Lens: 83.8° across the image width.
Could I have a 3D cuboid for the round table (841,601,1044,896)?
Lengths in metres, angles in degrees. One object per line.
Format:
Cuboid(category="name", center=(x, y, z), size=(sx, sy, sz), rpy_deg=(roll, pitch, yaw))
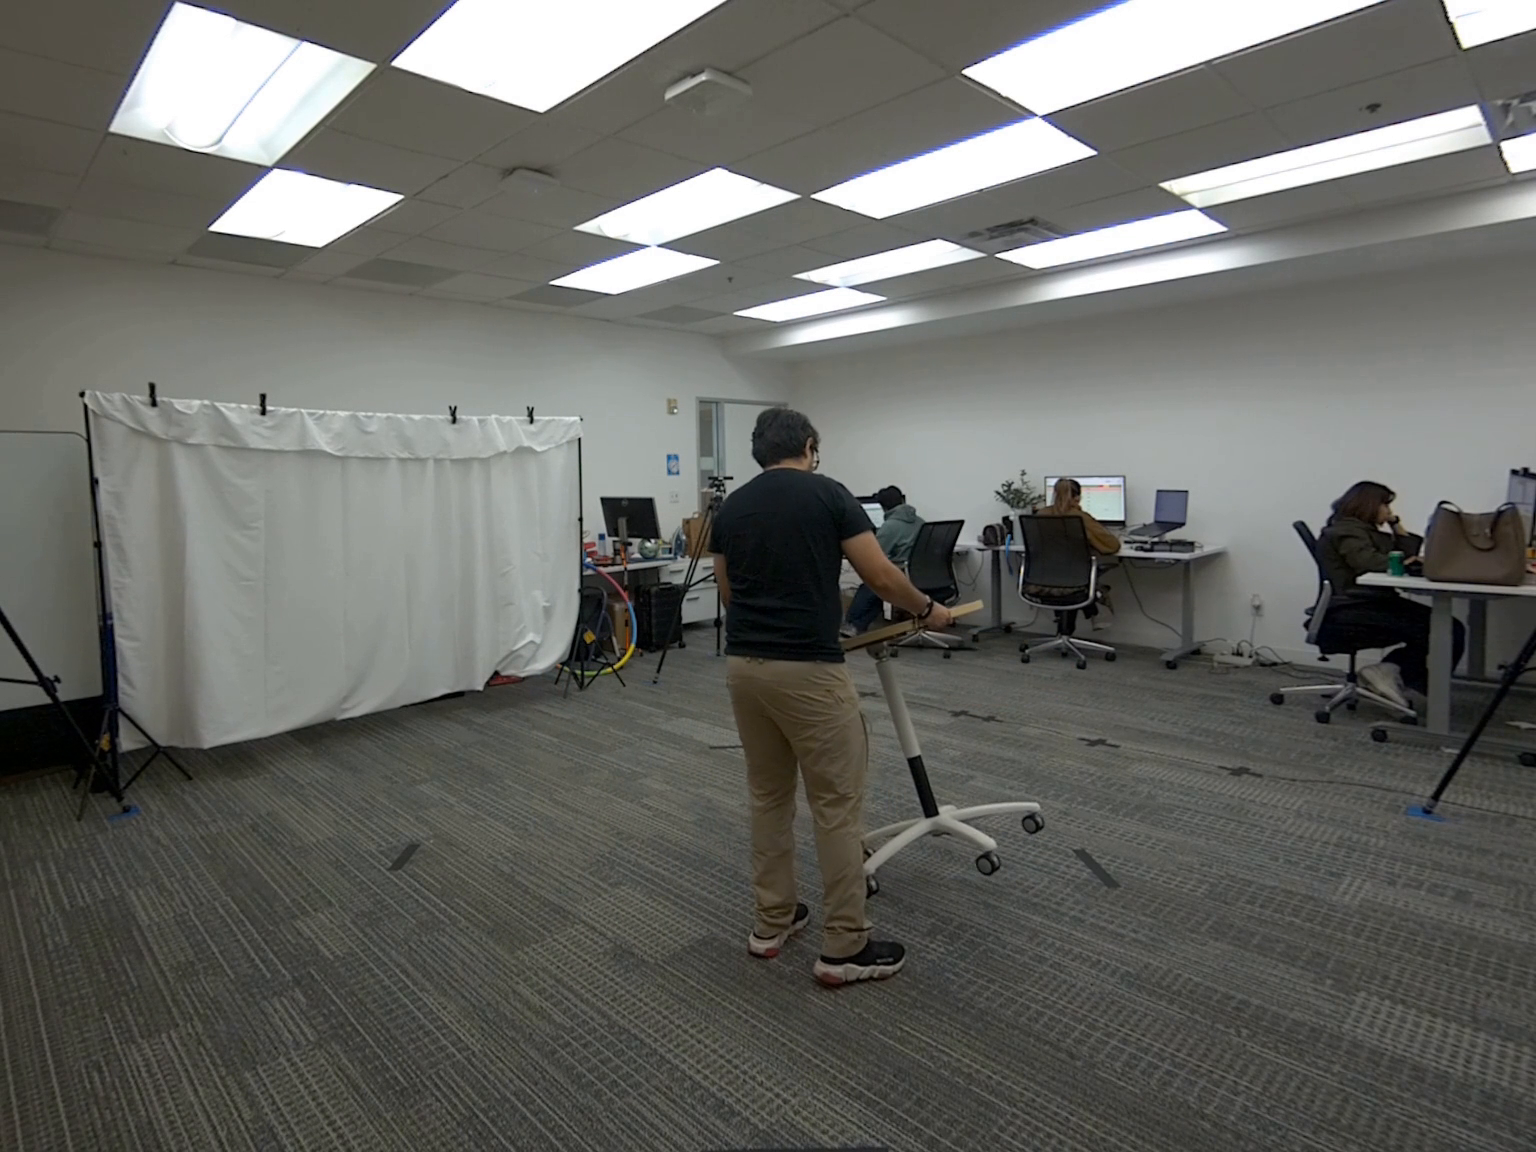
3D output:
Cuboid(category="round table", center=(0.505, 0.568, 2.921), size=(0.783, 0.794, 0.780), rpy_deg=(-16, -7, -4))
